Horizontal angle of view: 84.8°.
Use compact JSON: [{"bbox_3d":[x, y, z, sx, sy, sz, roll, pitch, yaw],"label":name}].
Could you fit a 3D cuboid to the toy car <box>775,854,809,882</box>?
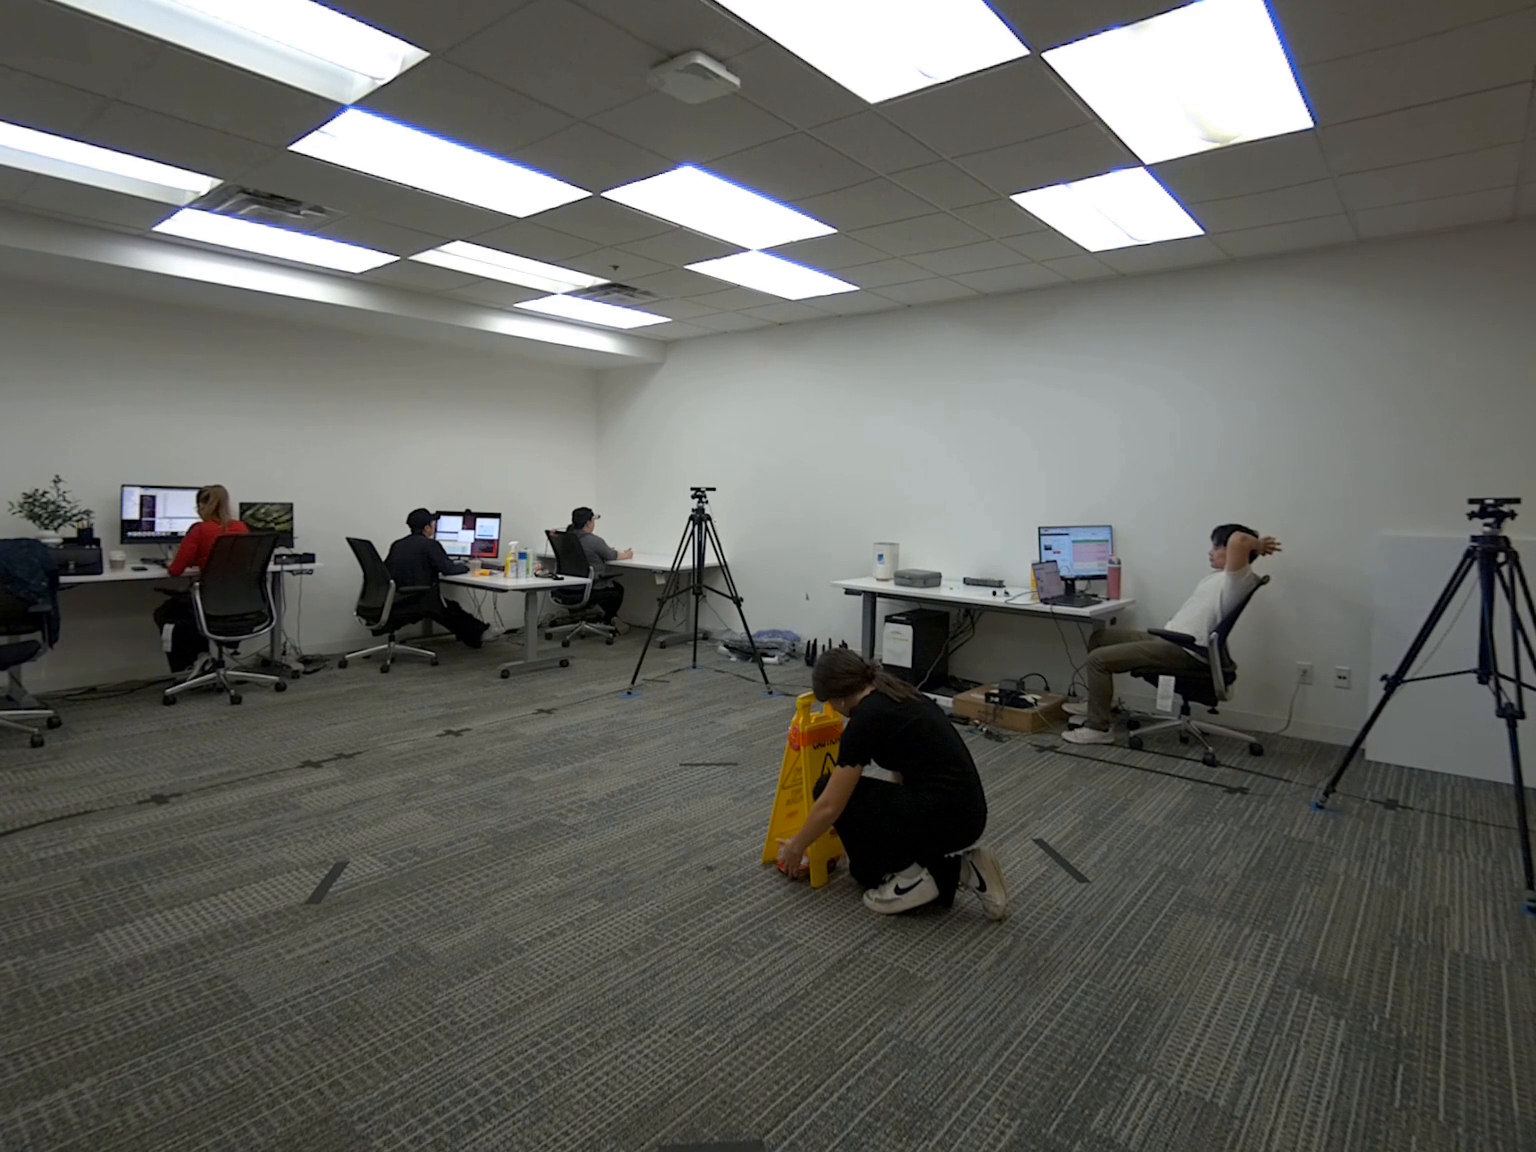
[{"bbox_3d":[0.156,1.042,3.122,0.249,0.082,0.134,-16,13,-34],"label":"toy car"}]
